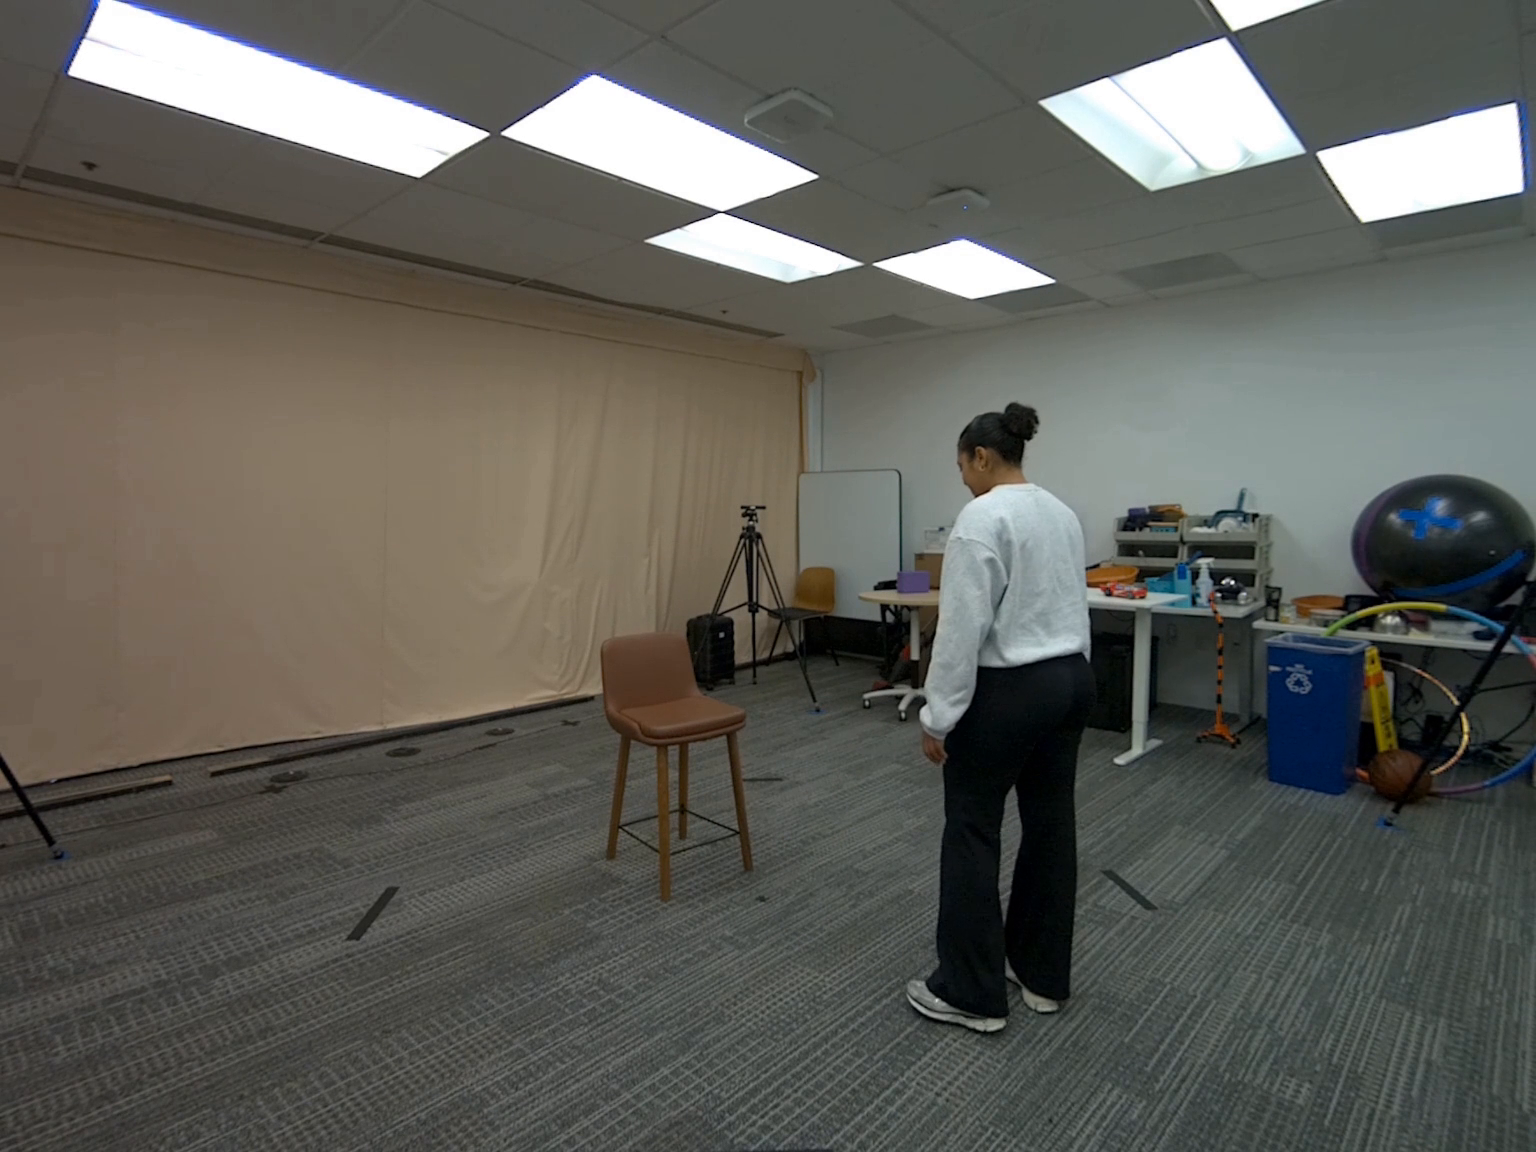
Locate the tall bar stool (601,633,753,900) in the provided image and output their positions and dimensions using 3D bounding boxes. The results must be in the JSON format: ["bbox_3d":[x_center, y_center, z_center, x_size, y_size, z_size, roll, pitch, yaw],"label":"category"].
[{"bbox_3d":[-0.363,0.689,3.251,0.443,0.889,0.482,-3,2,-38],"label":"tall bar stool"}]
